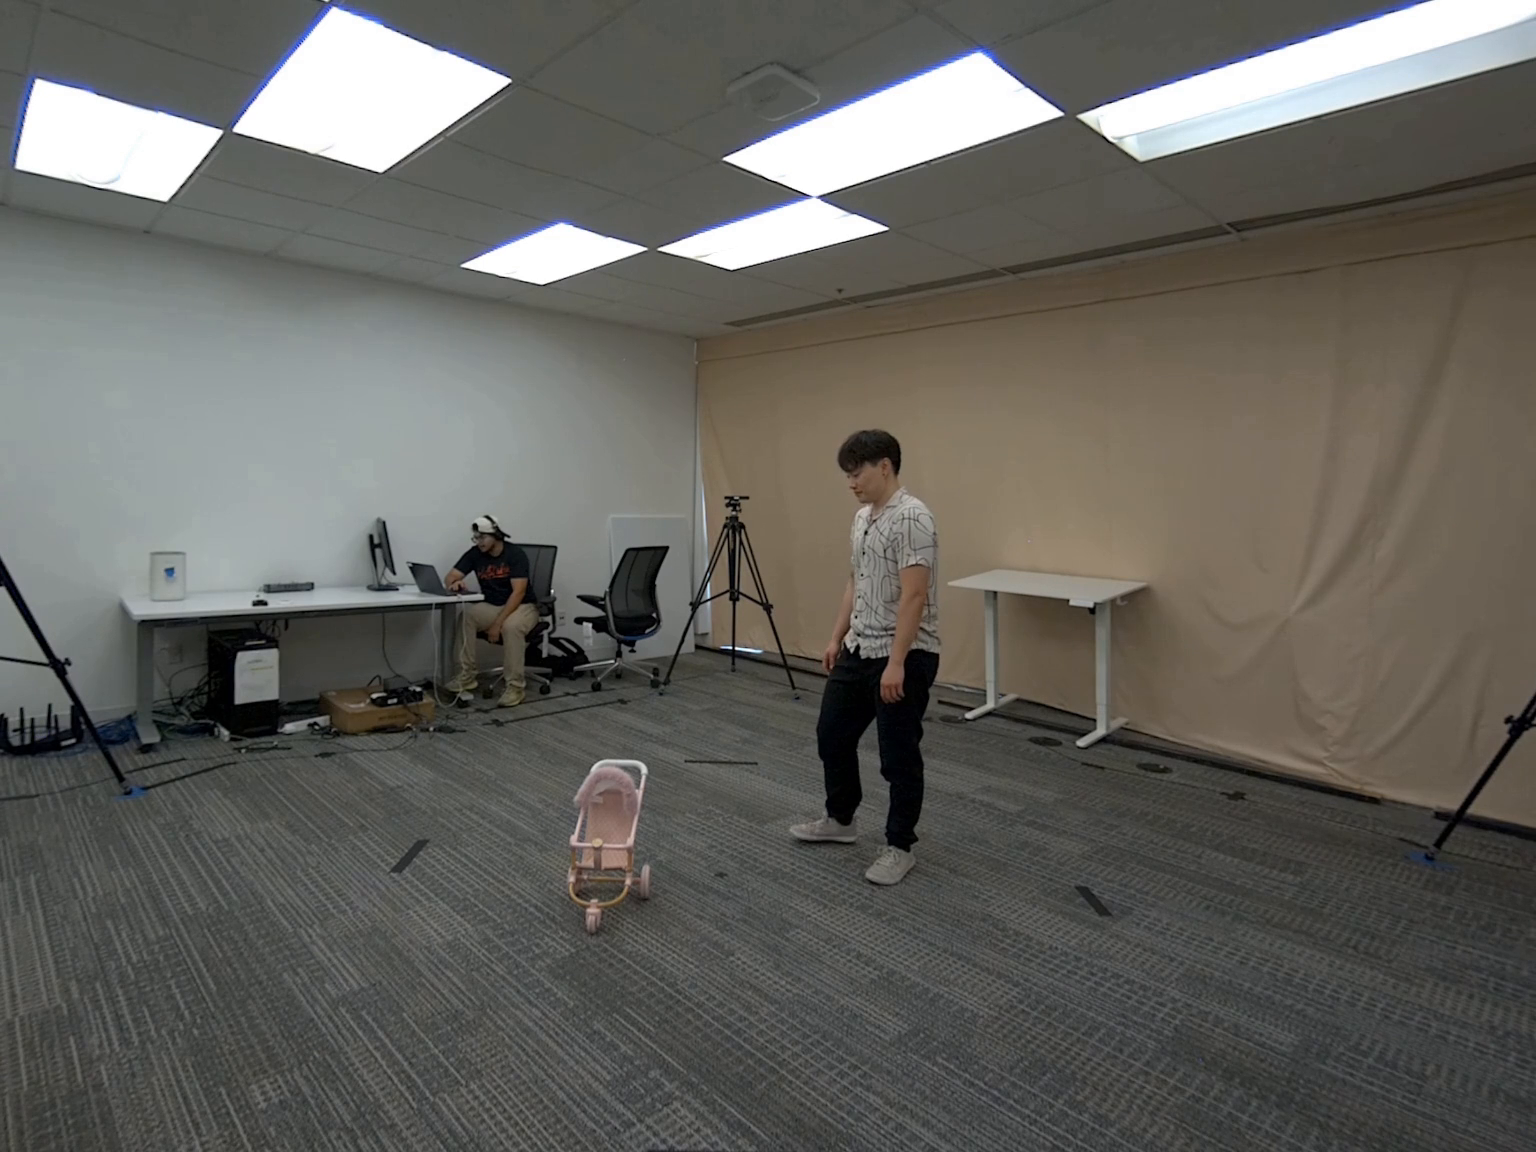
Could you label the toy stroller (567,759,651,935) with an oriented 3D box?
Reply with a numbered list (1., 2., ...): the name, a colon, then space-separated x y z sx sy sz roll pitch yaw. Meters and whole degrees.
1. toy stroller: -0.554 0.896 2.852 0.283 0.540 0.336 1 -13 5
